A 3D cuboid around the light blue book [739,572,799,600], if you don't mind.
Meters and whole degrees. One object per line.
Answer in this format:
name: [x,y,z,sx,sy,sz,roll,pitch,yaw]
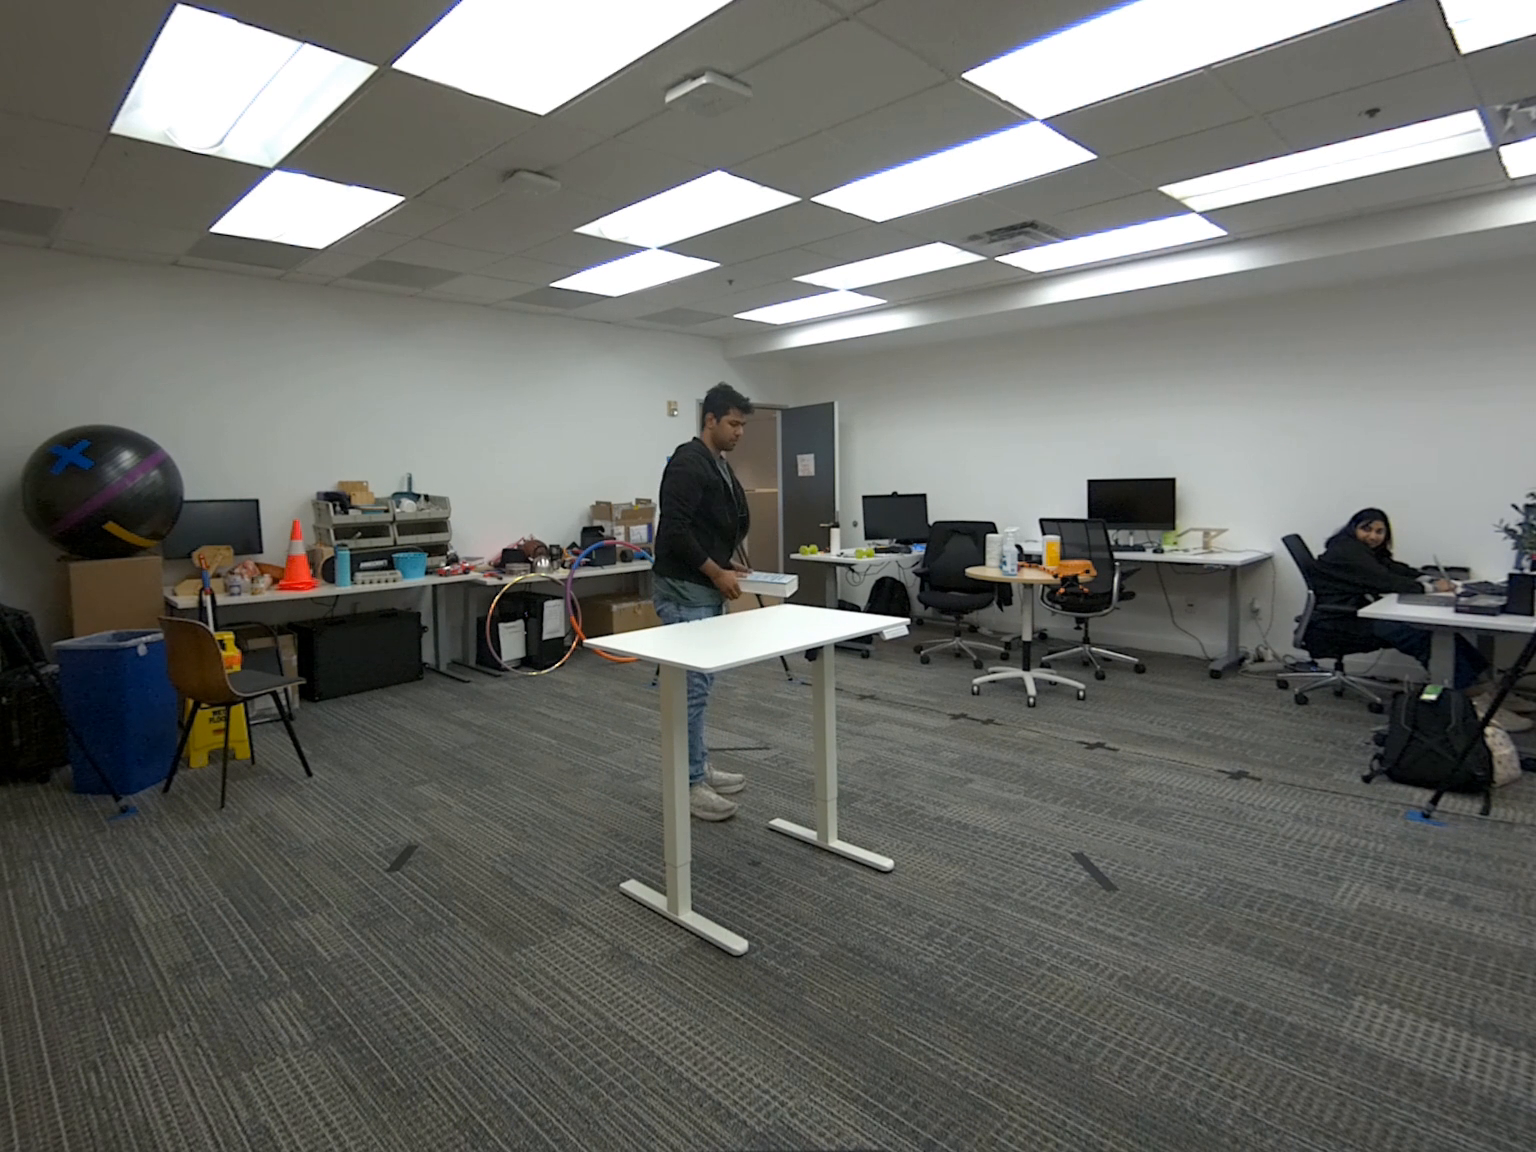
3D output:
light blue book: [-0.018,0.033,3.675,0.265,0.058,0.189,4,8,15]
